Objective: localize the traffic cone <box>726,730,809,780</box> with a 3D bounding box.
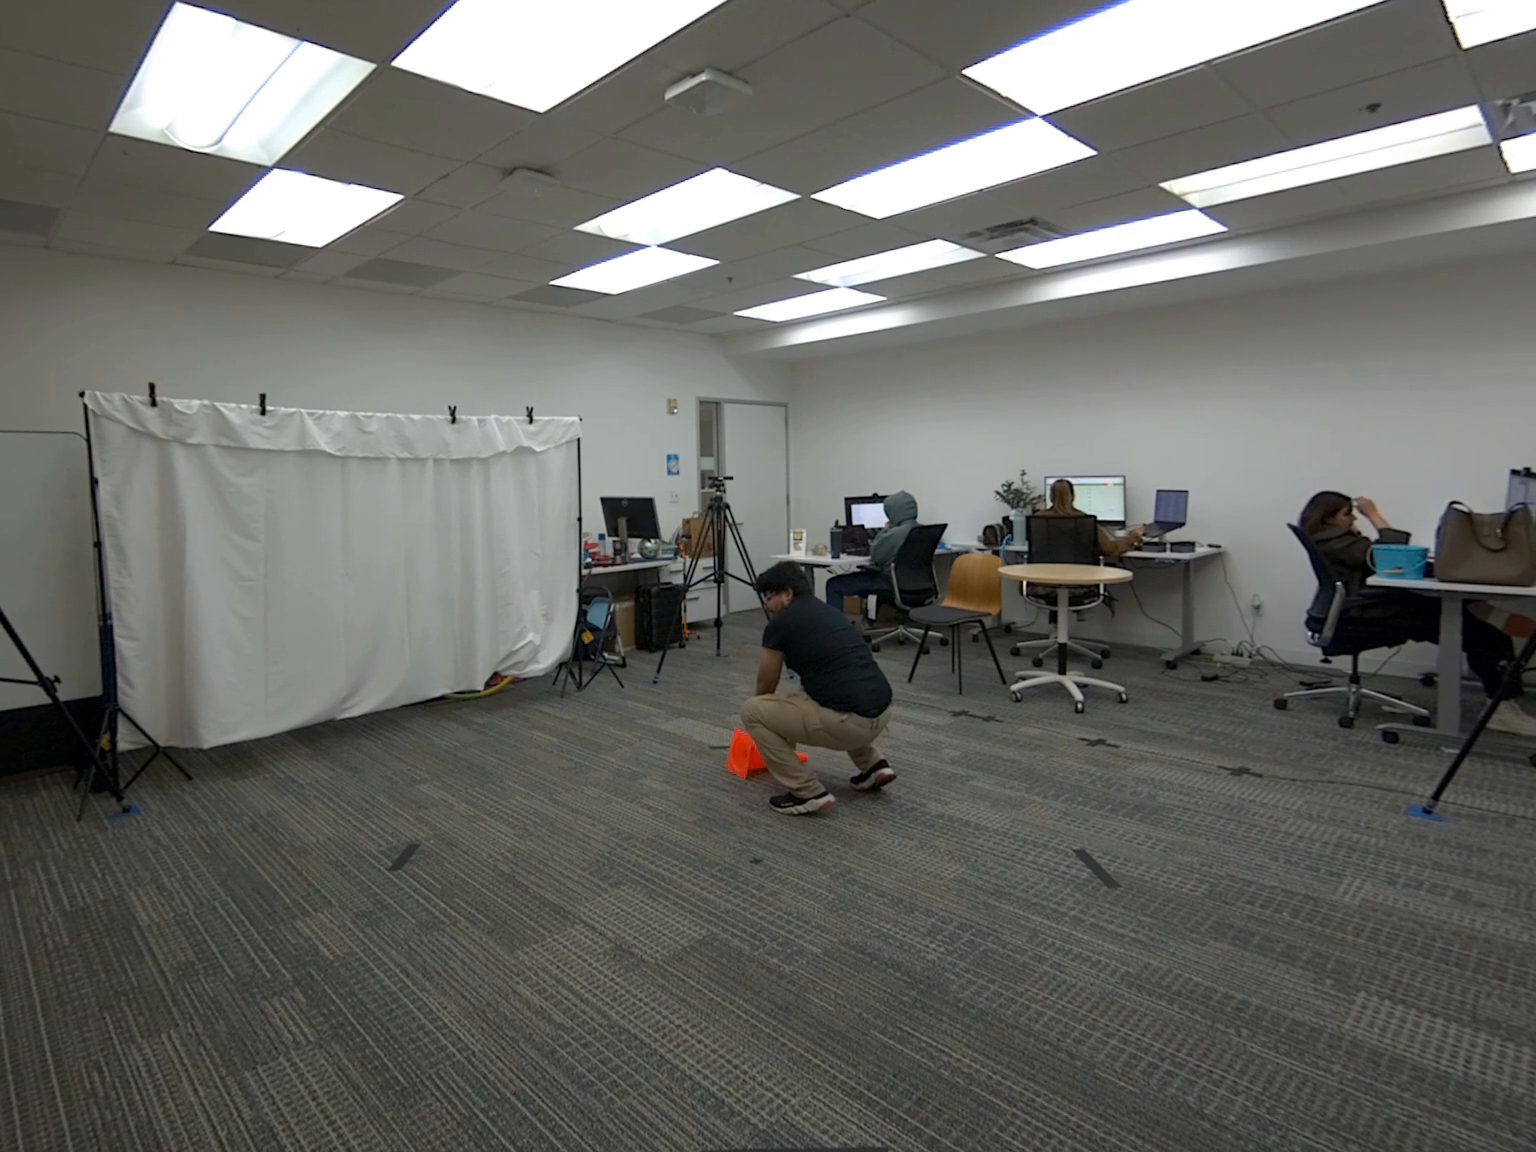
[{"bbox_3d":[0.031,0.874,4.109,0.374,0.204,0.210,14,-5,-25],"label":"traffic cone"}]
